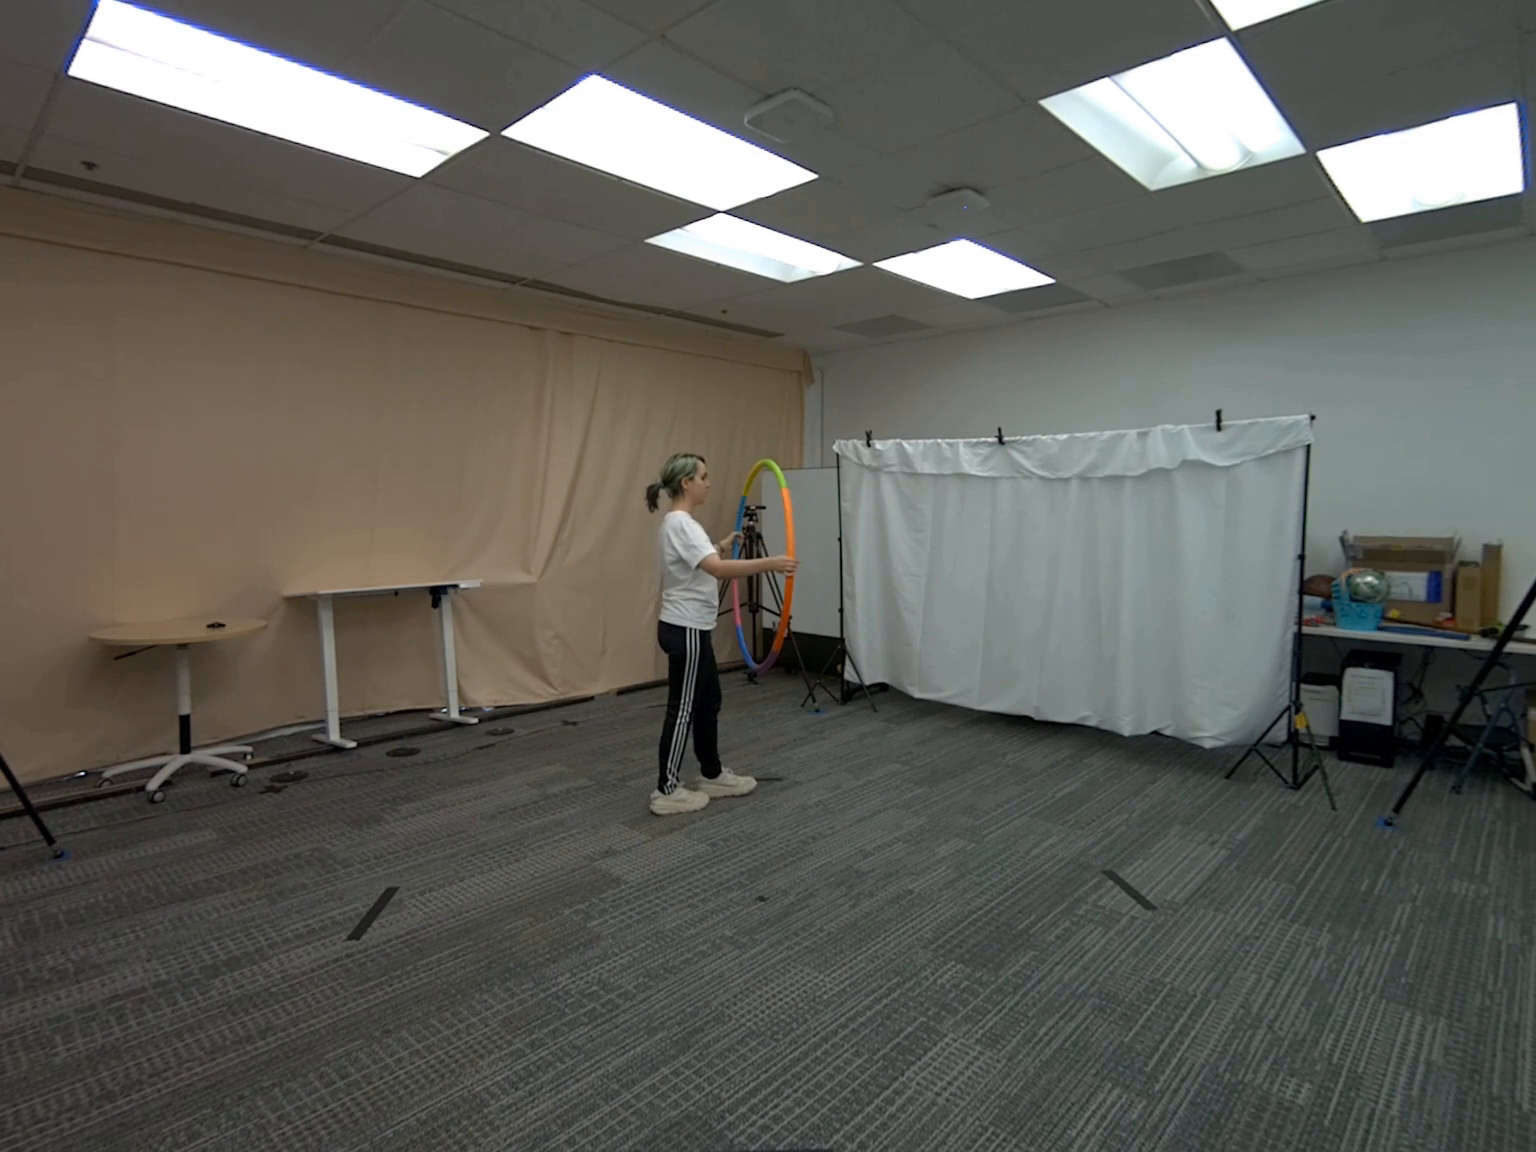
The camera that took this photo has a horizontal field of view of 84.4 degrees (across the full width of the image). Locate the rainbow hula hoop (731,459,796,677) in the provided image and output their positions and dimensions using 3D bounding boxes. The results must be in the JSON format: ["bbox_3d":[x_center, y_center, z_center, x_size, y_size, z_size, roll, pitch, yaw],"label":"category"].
[{"bbox_3d":[-0.047,-0.047,3.910,0.035,0.977,0.996,4,3,-16],"label":"rainbow hula hoop"}]
